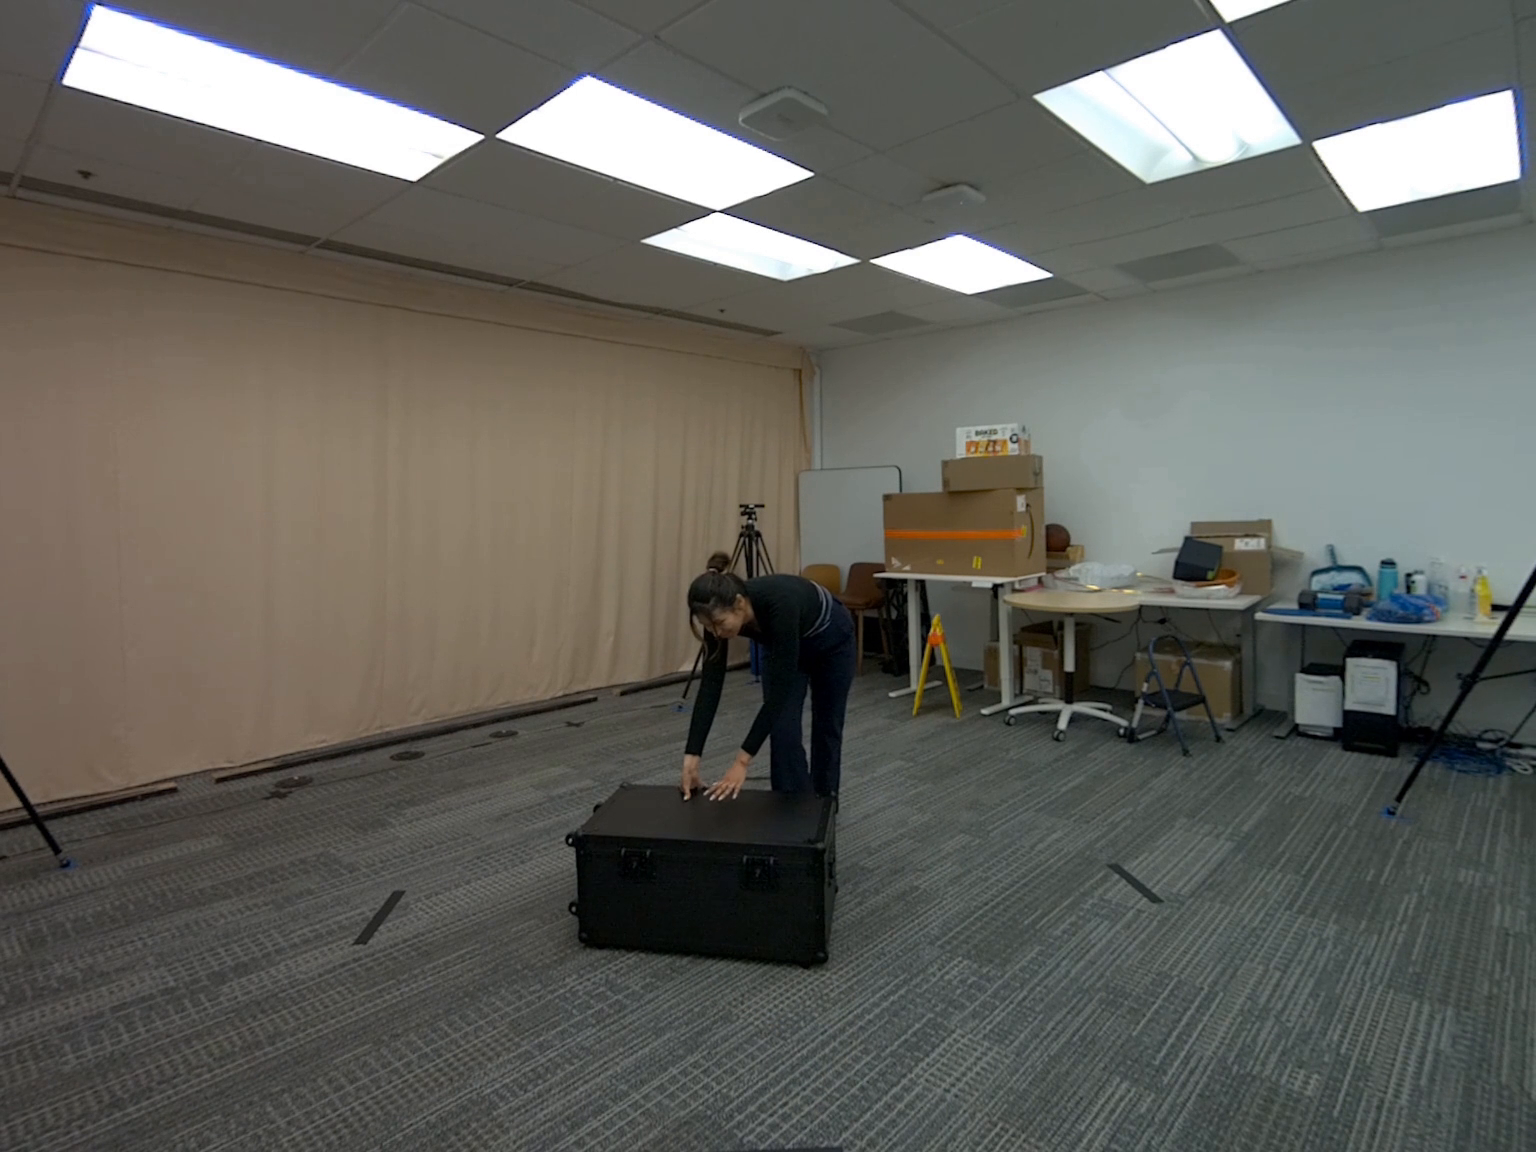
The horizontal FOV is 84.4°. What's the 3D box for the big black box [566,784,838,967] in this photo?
[{"bbox_3d":[-0.217,0.965,2.809,0.873,0.395,0.516,1,4,11],"label":"big black box"}]
